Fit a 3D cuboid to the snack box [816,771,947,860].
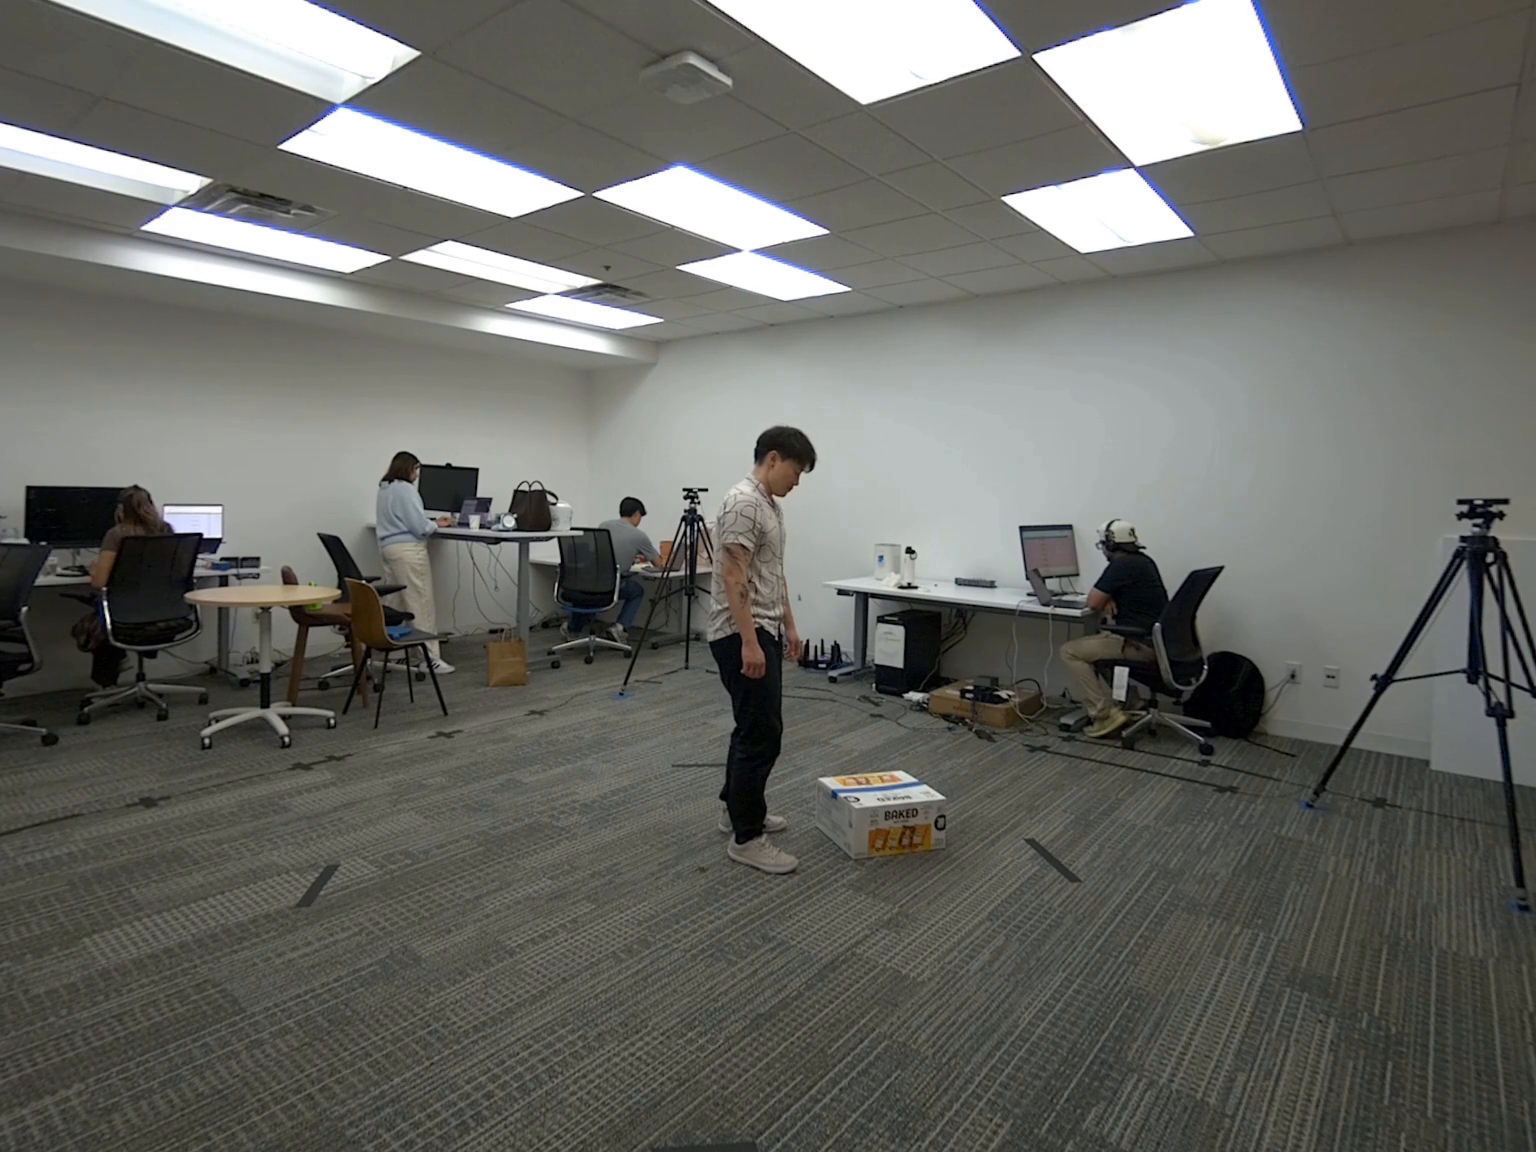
[{"bbox_3d":[0.446,0.954,3.427,0.397,0.205,0.348,0,5,-20],"label":"snack box"}]
